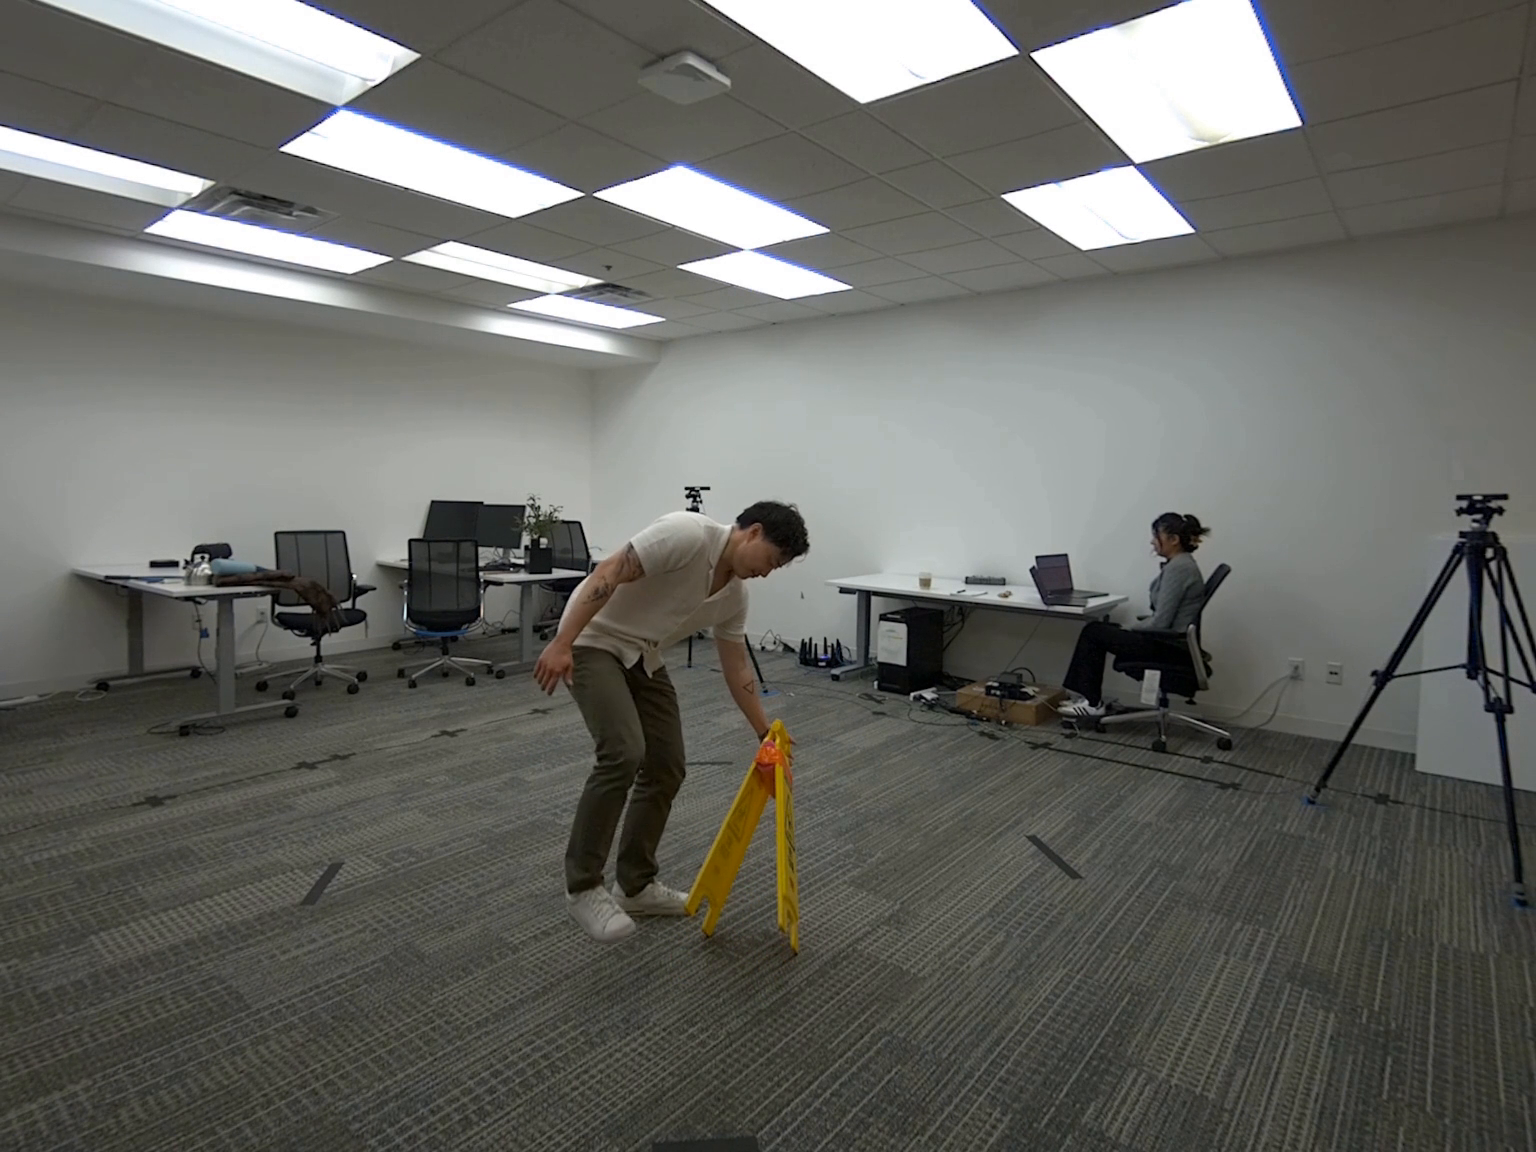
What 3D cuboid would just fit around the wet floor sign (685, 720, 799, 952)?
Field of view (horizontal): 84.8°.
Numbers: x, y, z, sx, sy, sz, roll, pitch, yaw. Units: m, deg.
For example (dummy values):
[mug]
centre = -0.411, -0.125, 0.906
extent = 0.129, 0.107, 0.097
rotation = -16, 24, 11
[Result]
[wet floor sign]
centre = -0.021, 0.783, 2.681
extent = 0.295, 0.658, 0.272
rotation = 2, -36, 16
